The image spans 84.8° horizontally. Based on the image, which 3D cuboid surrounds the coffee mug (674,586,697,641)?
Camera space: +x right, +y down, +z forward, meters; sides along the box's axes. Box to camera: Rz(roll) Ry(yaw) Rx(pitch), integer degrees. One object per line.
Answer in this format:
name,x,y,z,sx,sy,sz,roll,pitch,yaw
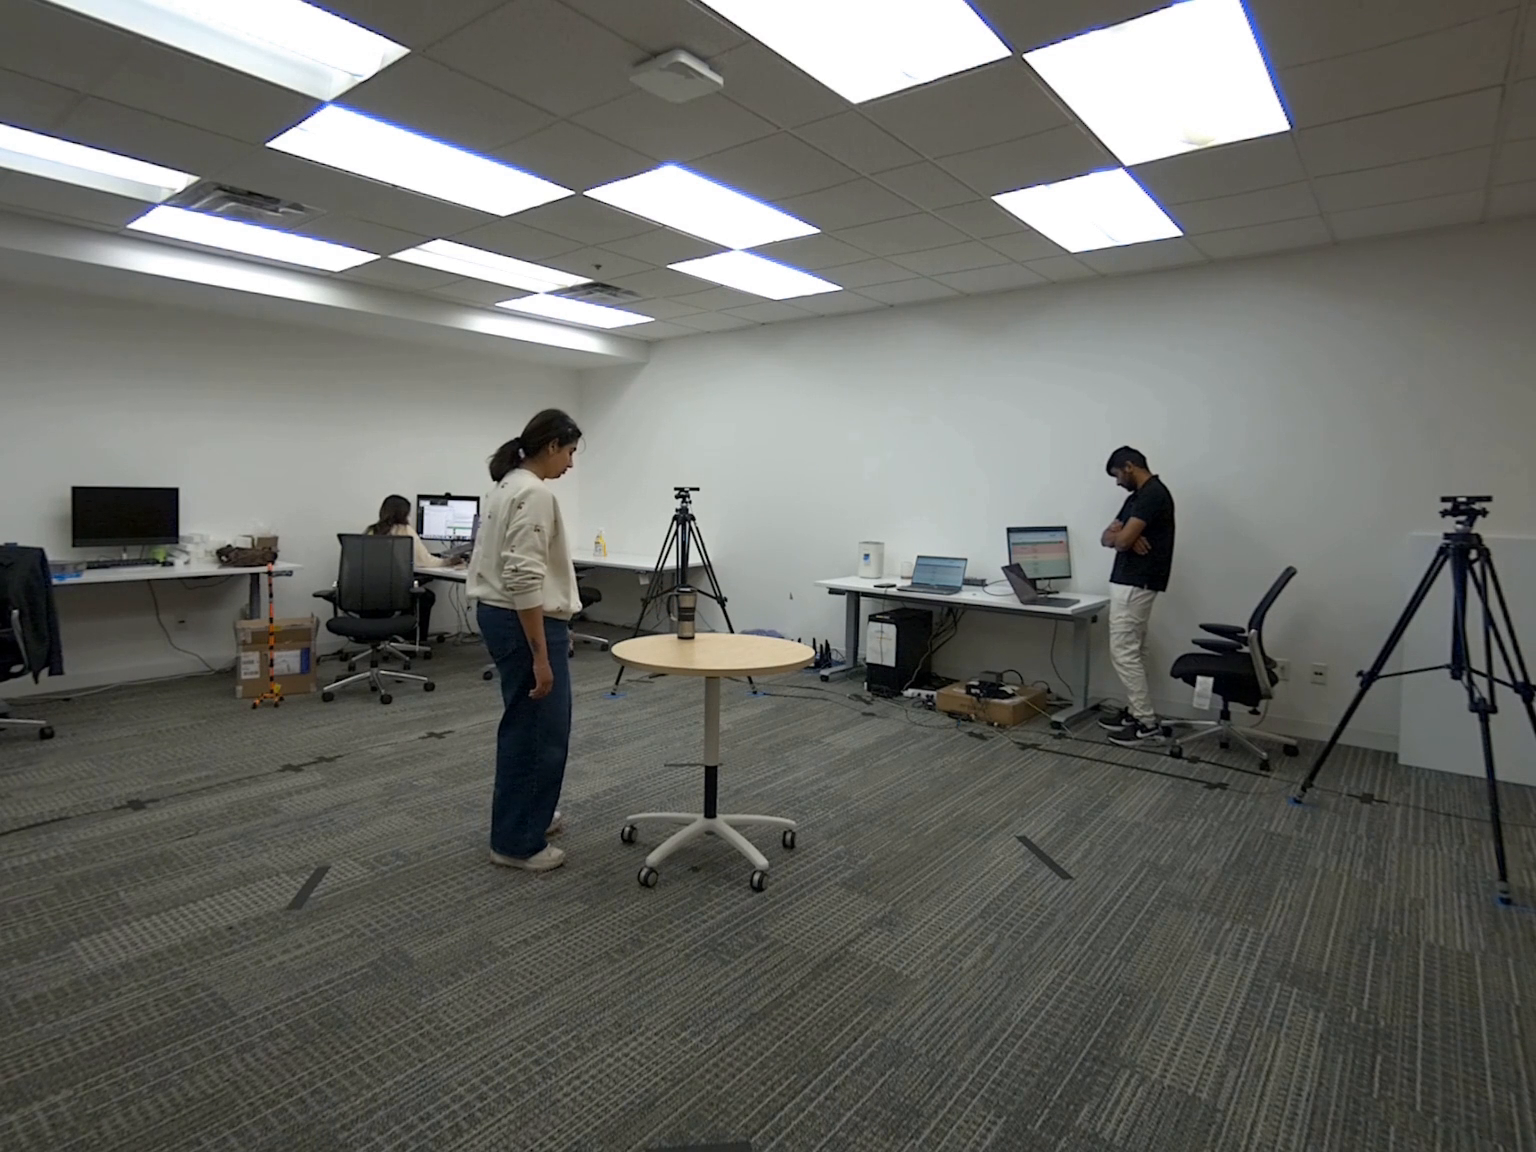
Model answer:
coffee mug,-0.362,0.151,3.456,0.126,0.201,0.085,8,13,41
